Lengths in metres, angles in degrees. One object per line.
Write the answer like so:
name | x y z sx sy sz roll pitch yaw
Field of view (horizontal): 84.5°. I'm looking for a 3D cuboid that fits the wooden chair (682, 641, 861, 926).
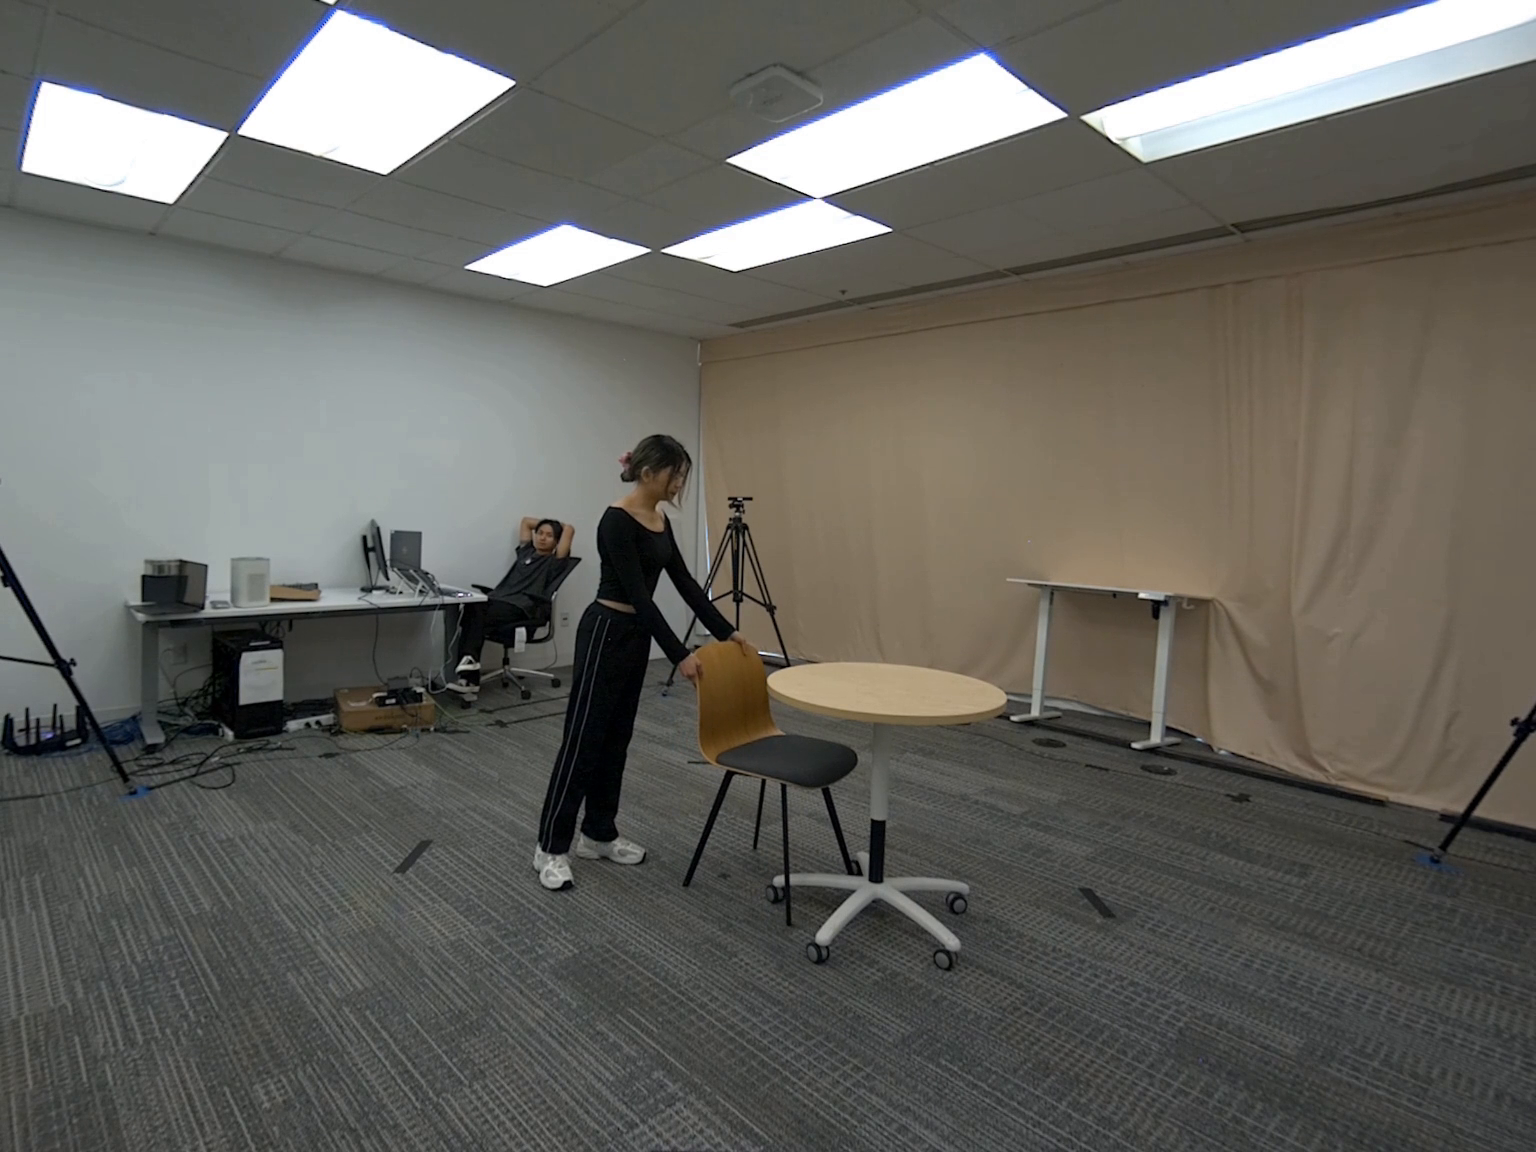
wooden chair | 0.017 0.686 3.024 0.535 0.877 0.468 -2 0 36
